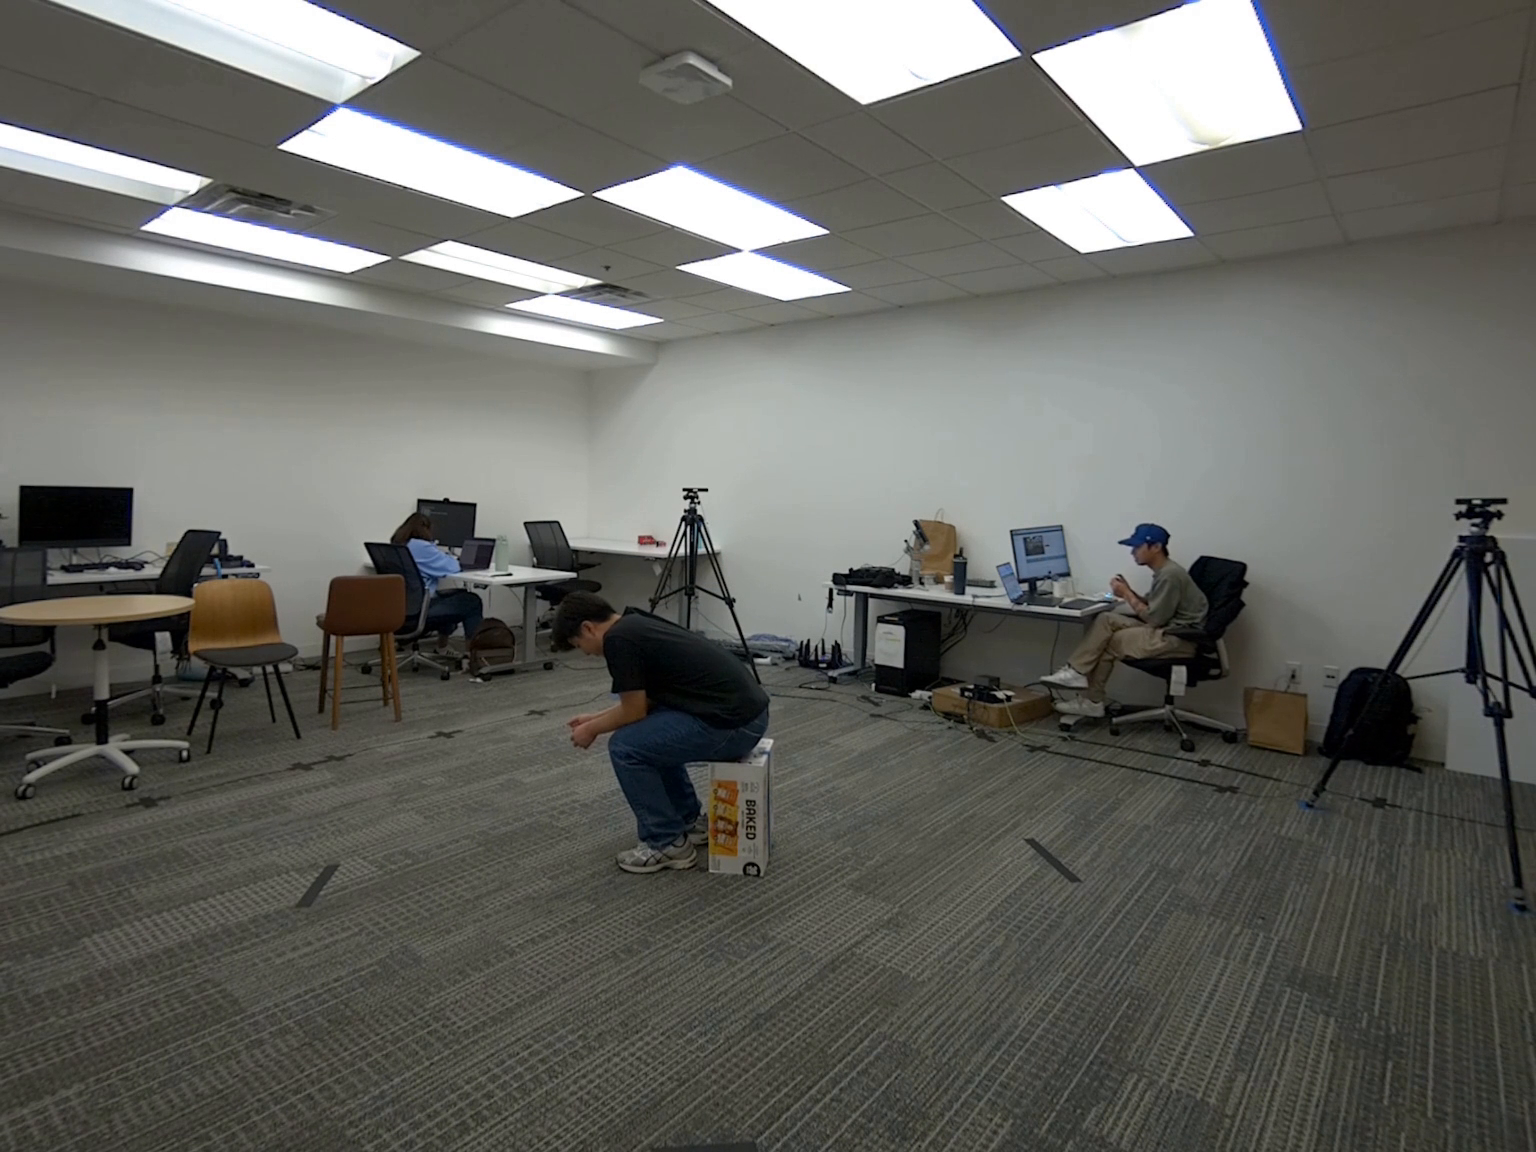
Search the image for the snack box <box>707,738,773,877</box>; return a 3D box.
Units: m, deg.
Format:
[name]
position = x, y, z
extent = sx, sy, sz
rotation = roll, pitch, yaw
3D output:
[snack box]
position = -0.106, 0.859, 3.225
extent = 0.208, 0.404, 0.338
rotation = 1, 4, 8
